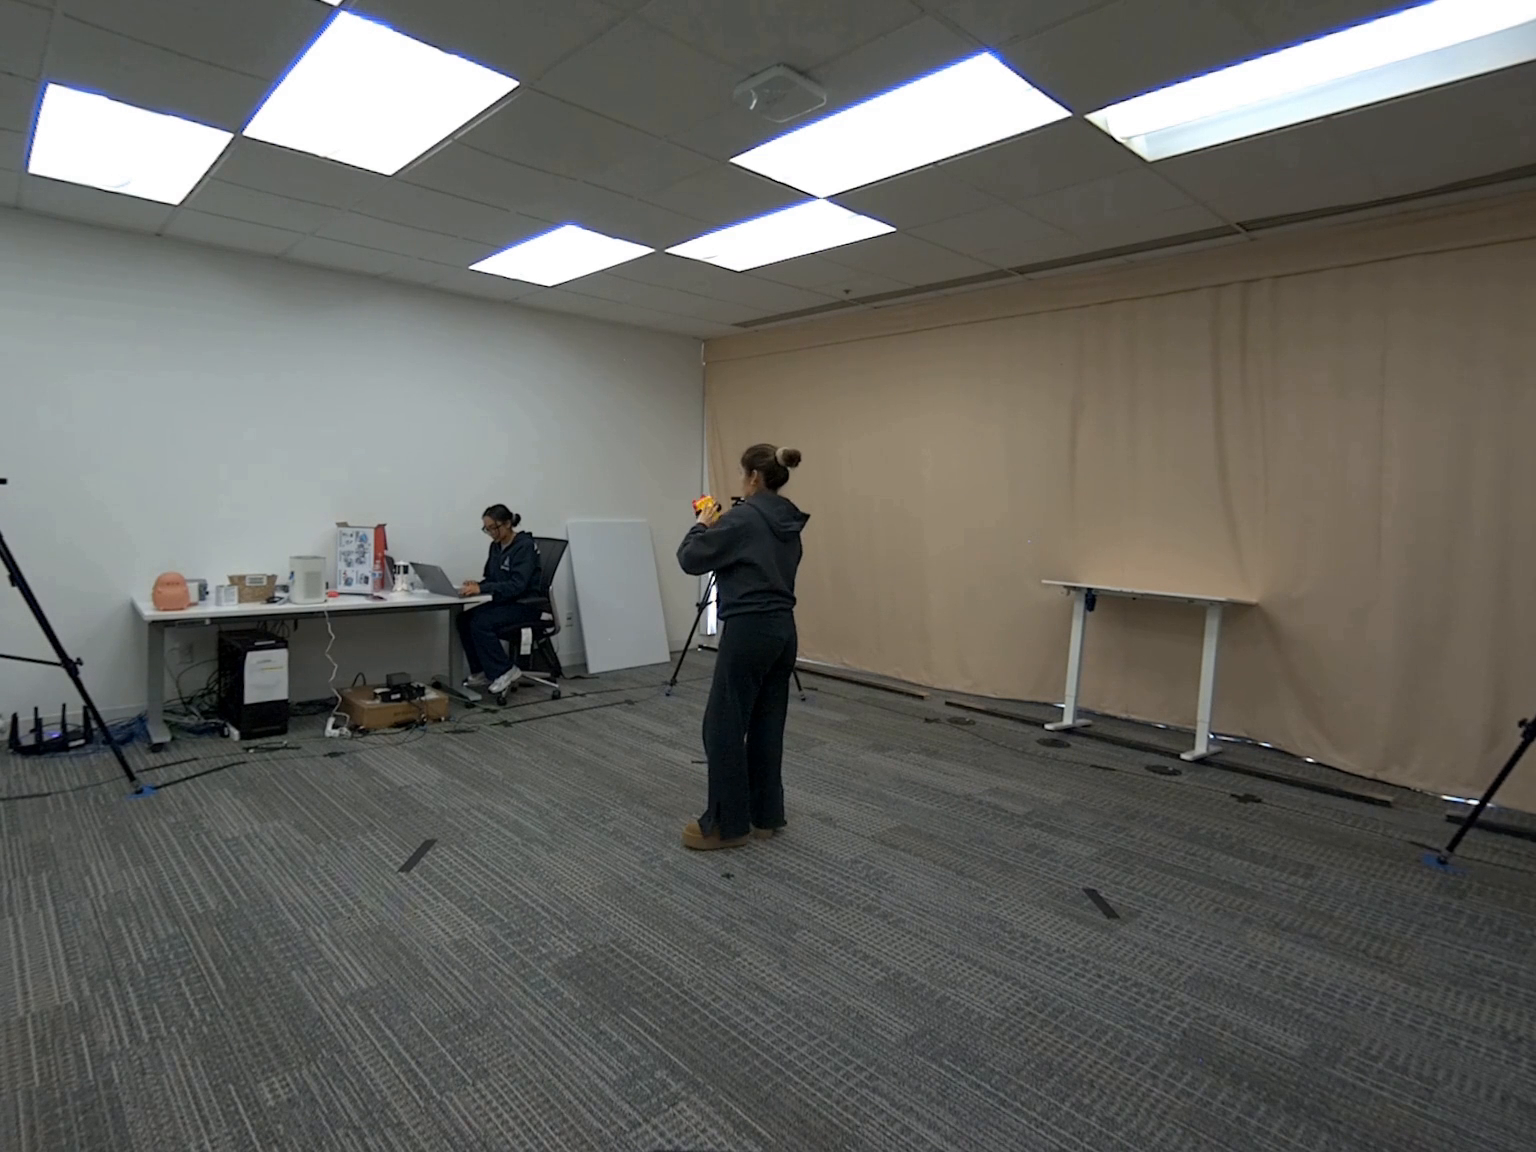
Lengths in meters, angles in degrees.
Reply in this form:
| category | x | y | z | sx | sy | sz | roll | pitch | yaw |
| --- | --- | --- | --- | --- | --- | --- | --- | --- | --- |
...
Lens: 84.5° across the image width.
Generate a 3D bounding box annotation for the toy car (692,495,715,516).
| category | x | y | z | sx | sy | sz | roll | pitch | yaw |
| --- | --- | --- | --- | --- | --- | --- | --- | --- | --- |
| toy car | -0.244 | -0.247 | 3.686 | 0.129 | 0.255 | 0.083 | -34 | -2 | -27 |
